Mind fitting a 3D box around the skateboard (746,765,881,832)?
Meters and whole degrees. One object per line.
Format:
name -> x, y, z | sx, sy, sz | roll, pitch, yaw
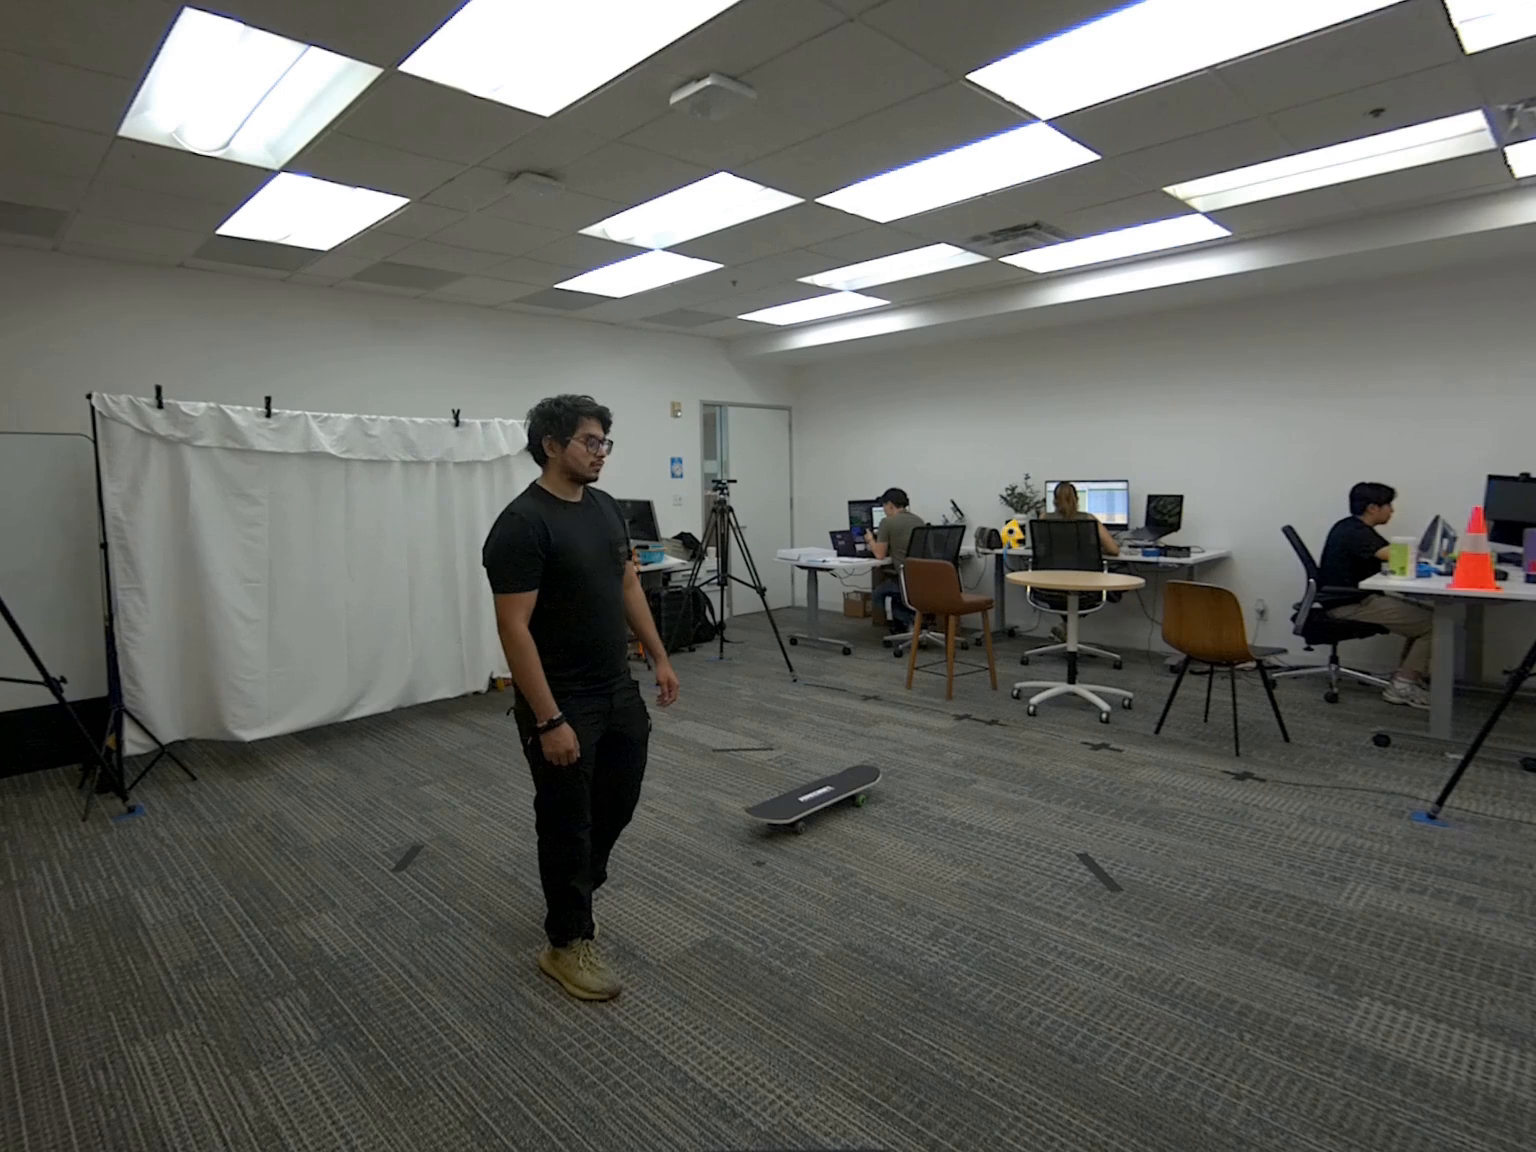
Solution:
skateboard -> 0.202, 0.935, 3.557 | 0.199, 0.110, 0.765 | 5, 9, 44
